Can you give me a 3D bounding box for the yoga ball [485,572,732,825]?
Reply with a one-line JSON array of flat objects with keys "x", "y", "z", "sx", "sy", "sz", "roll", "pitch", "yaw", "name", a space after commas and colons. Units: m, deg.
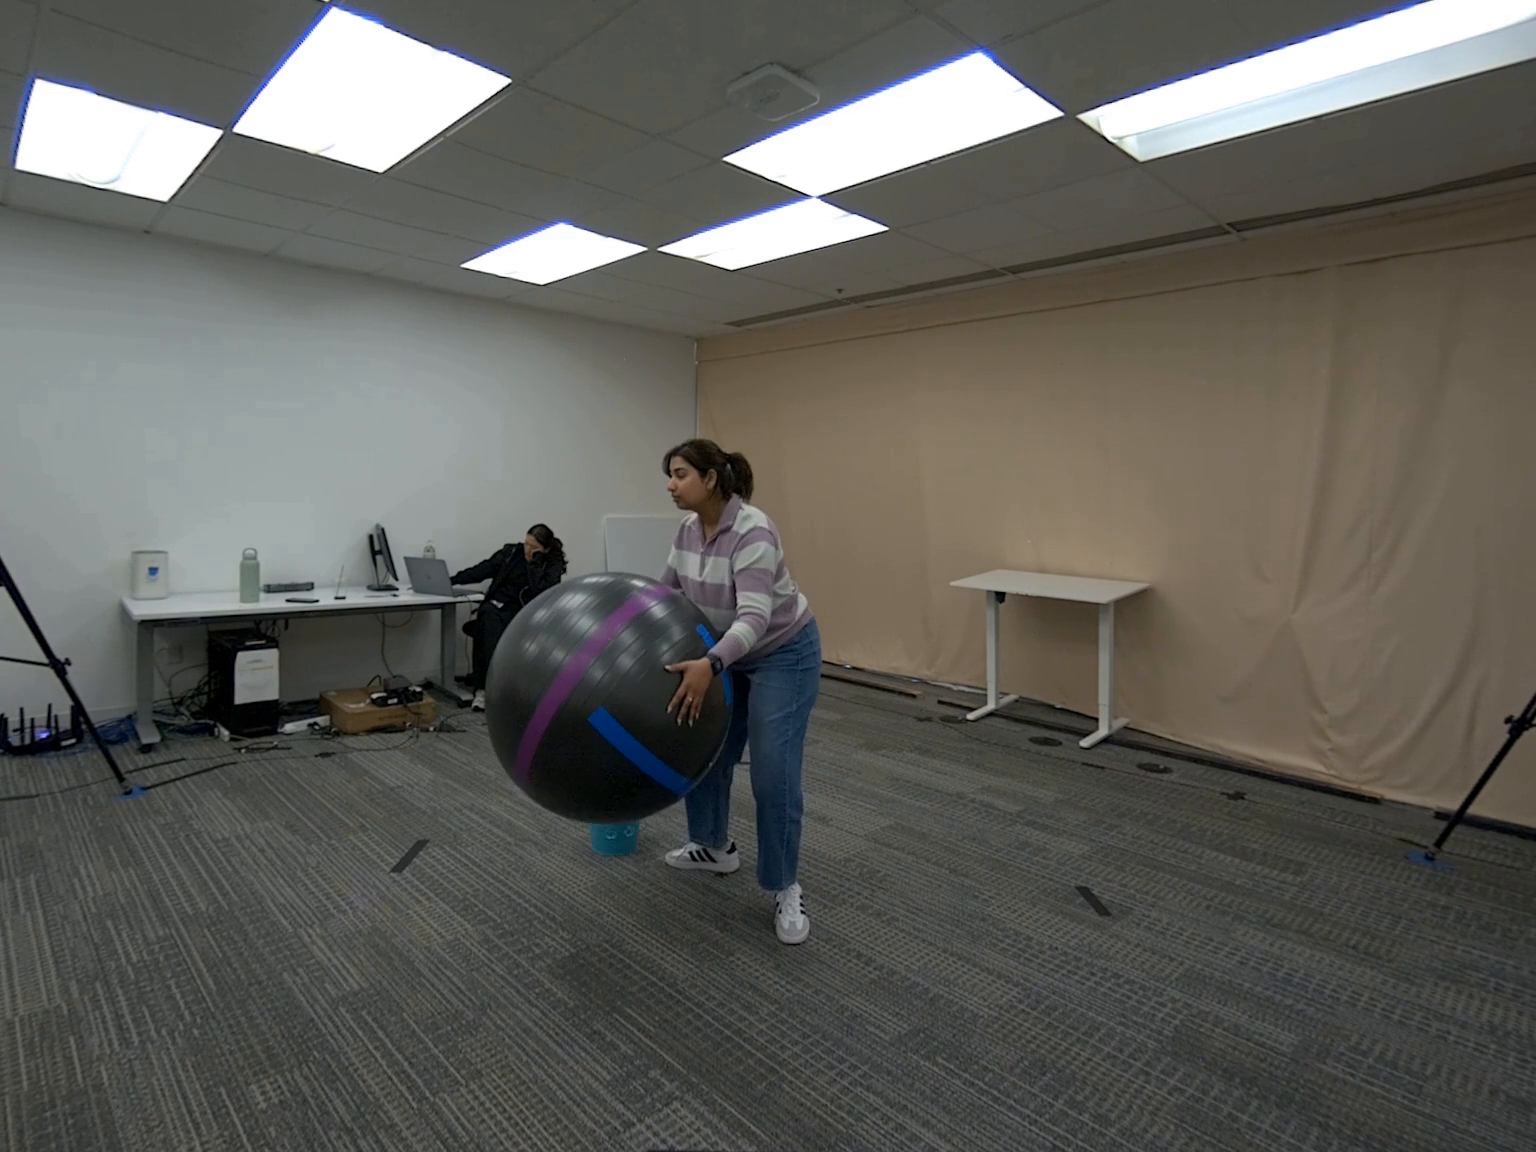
[{"x": -0.493, "y": 0.381, "z": 2.601, "sx": 0.757, "sy": 0.756, "sz": 0.761, "roll": 1, "pitch": 4, "yaw": -1, "name": "yoga ball"}]
